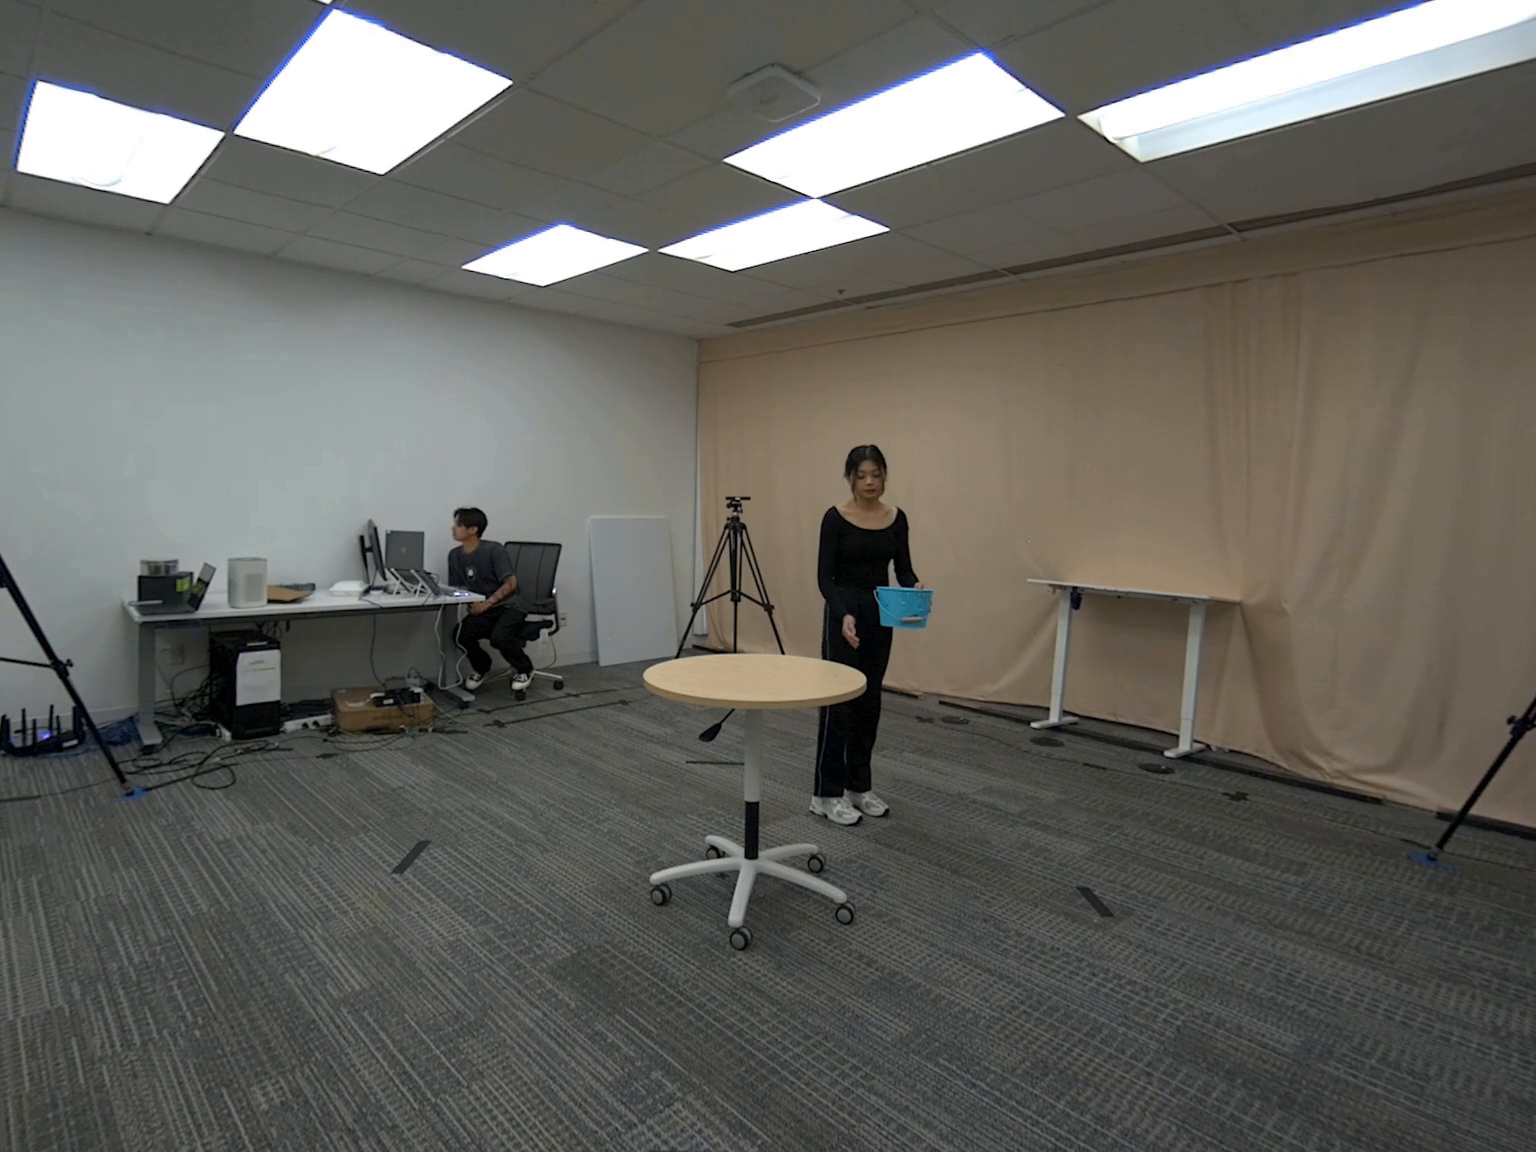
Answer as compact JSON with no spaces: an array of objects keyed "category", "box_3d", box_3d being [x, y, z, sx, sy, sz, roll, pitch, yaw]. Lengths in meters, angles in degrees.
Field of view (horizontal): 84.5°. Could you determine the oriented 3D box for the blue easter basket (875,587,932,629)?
[{"category":"blue easter basket","box_3d":[0.543,0.131,3.413,0.243,0.156,0.244,5,0,-1]}]
